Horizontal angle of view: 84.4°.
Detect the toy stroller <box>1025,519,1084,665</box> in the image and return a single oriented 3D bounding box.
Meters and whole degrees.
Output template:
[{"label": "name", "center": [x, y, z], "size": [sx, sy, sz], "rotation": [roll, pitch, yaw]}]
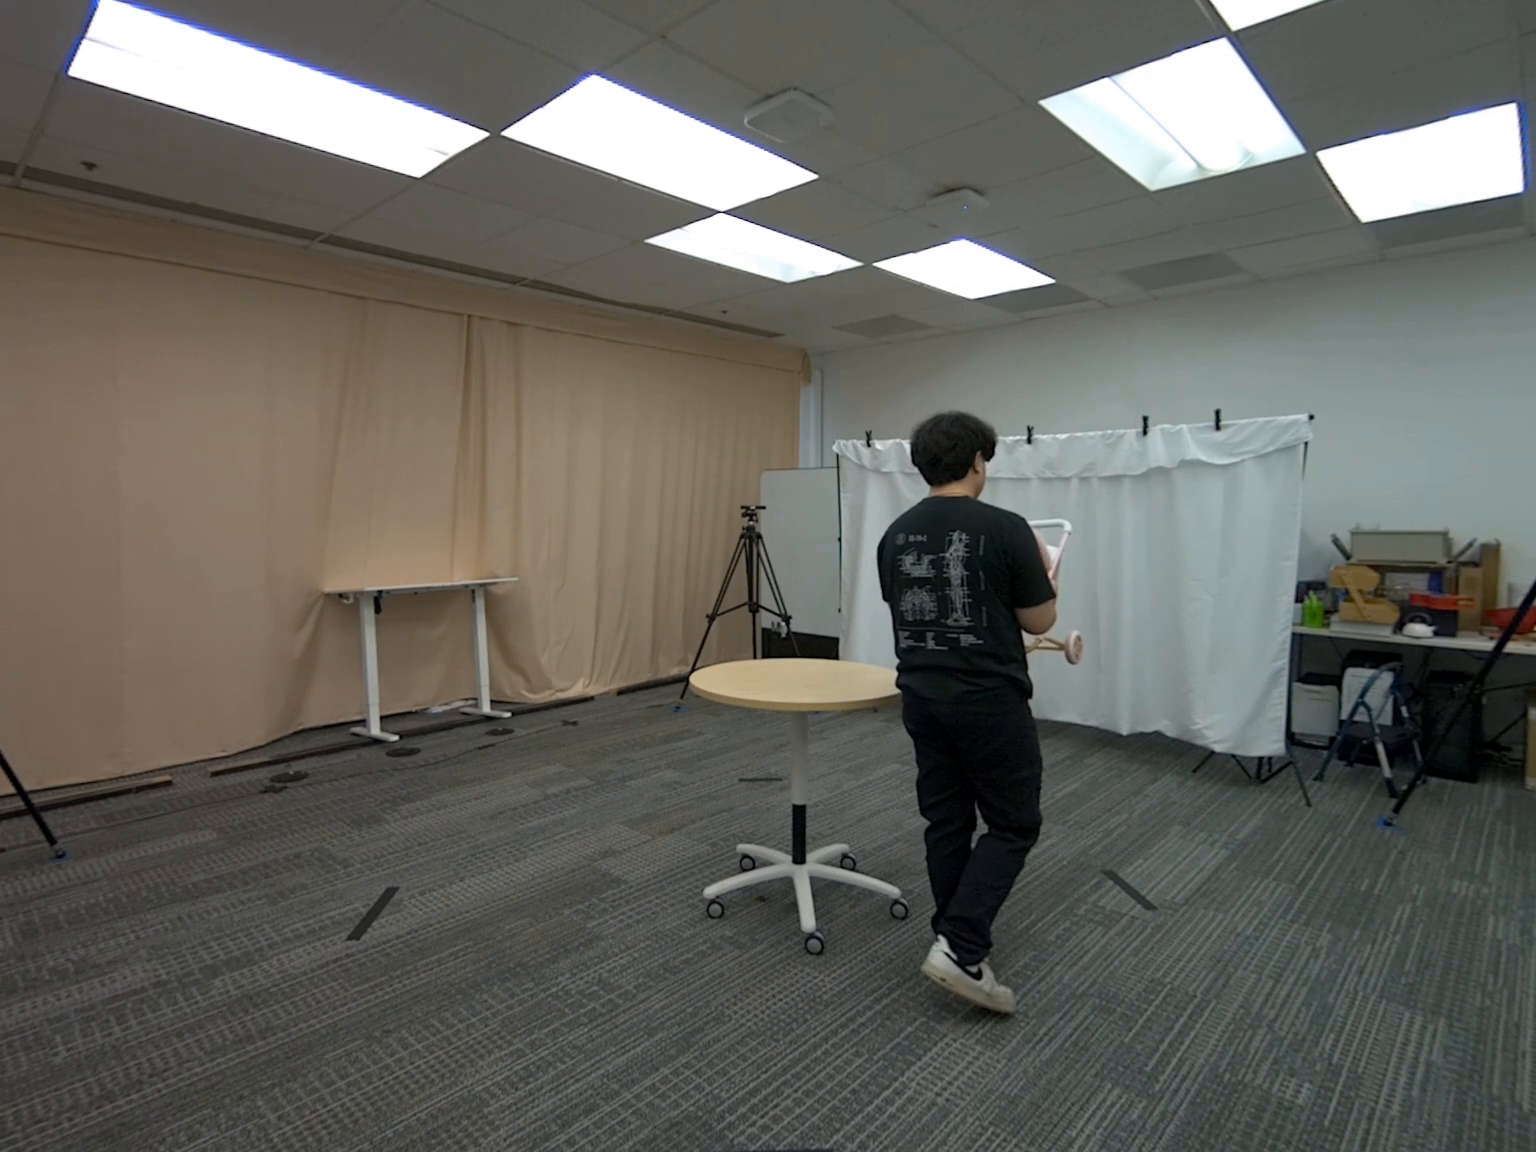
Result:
[{"label": "toy stroller", "center": [0.828, 0.075, 2.739], "size": [0.330, 0.536, 0.290], "rotation": [5, -4, -42]}]
